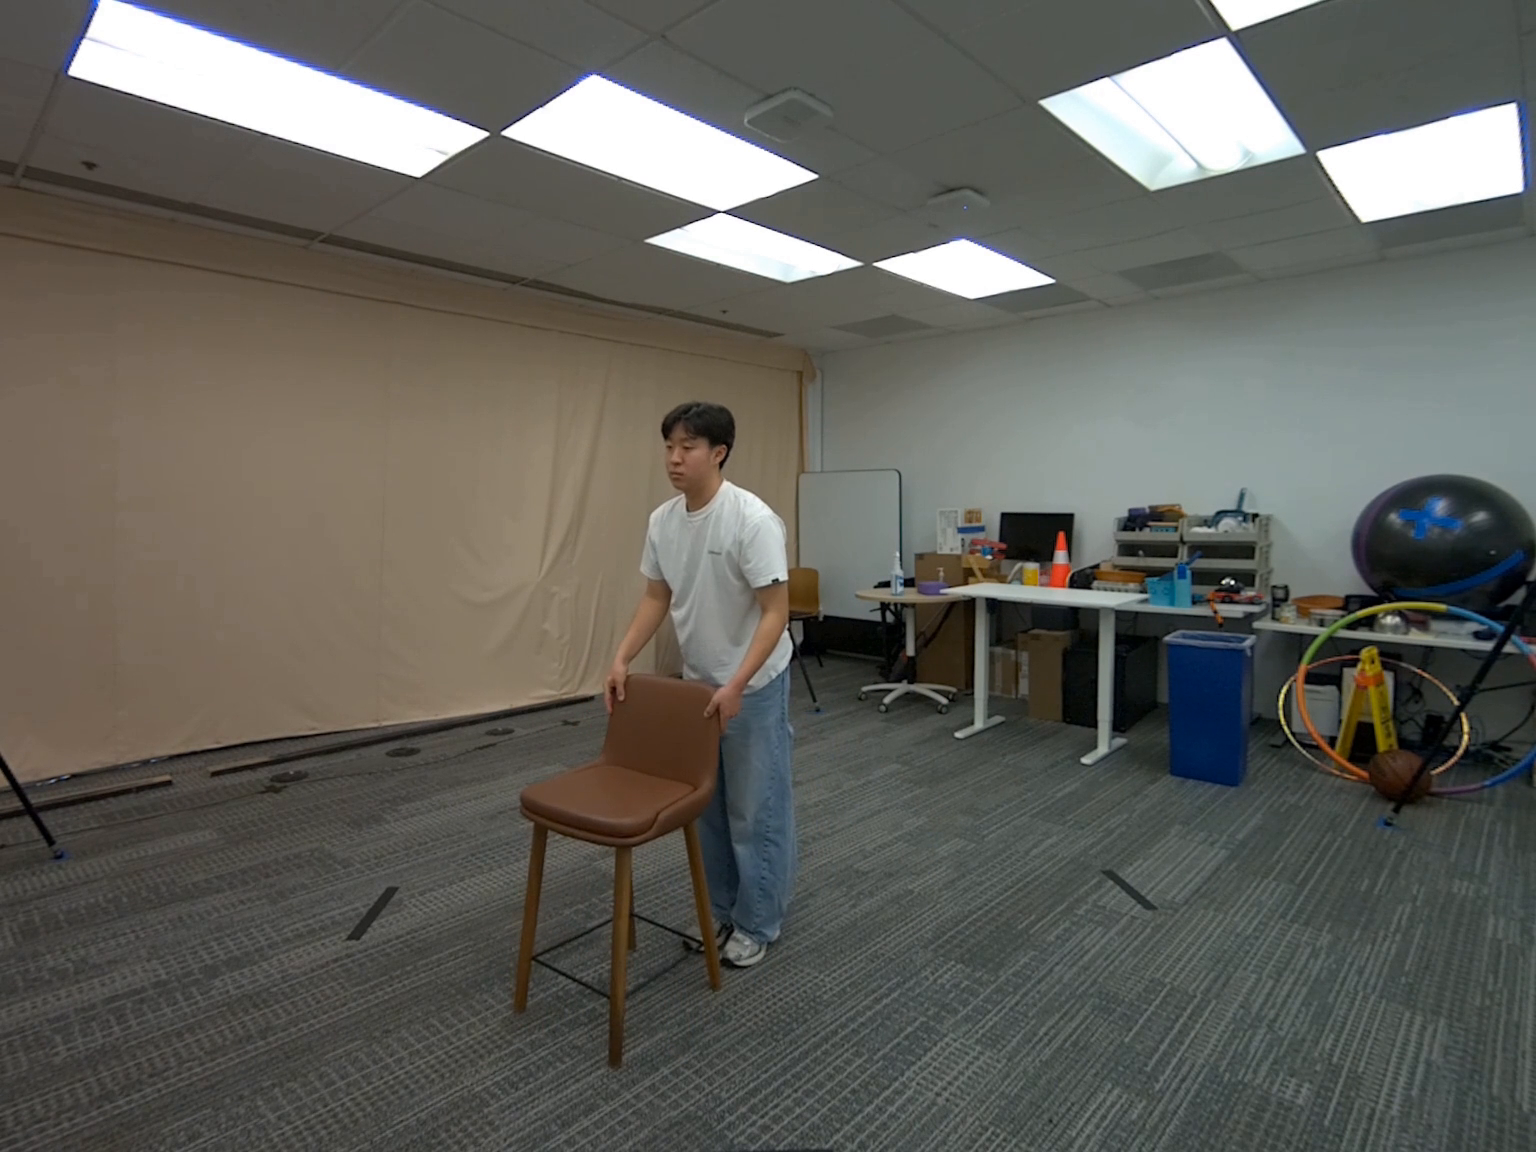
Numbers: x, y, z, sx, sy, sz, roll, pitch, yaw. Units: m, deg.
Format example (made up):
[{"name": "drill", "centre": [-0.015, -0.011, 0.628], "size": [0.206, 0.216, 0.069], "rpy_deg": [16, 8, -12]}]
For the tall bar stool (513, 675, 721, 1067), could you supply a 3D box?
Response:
[{"name": "tall bar stool", "centre": [-0.410, 0.760, 2.364], "size": [0.471, 0.889, 0.453], "rpy_deg": [2, 2, 37]}]
